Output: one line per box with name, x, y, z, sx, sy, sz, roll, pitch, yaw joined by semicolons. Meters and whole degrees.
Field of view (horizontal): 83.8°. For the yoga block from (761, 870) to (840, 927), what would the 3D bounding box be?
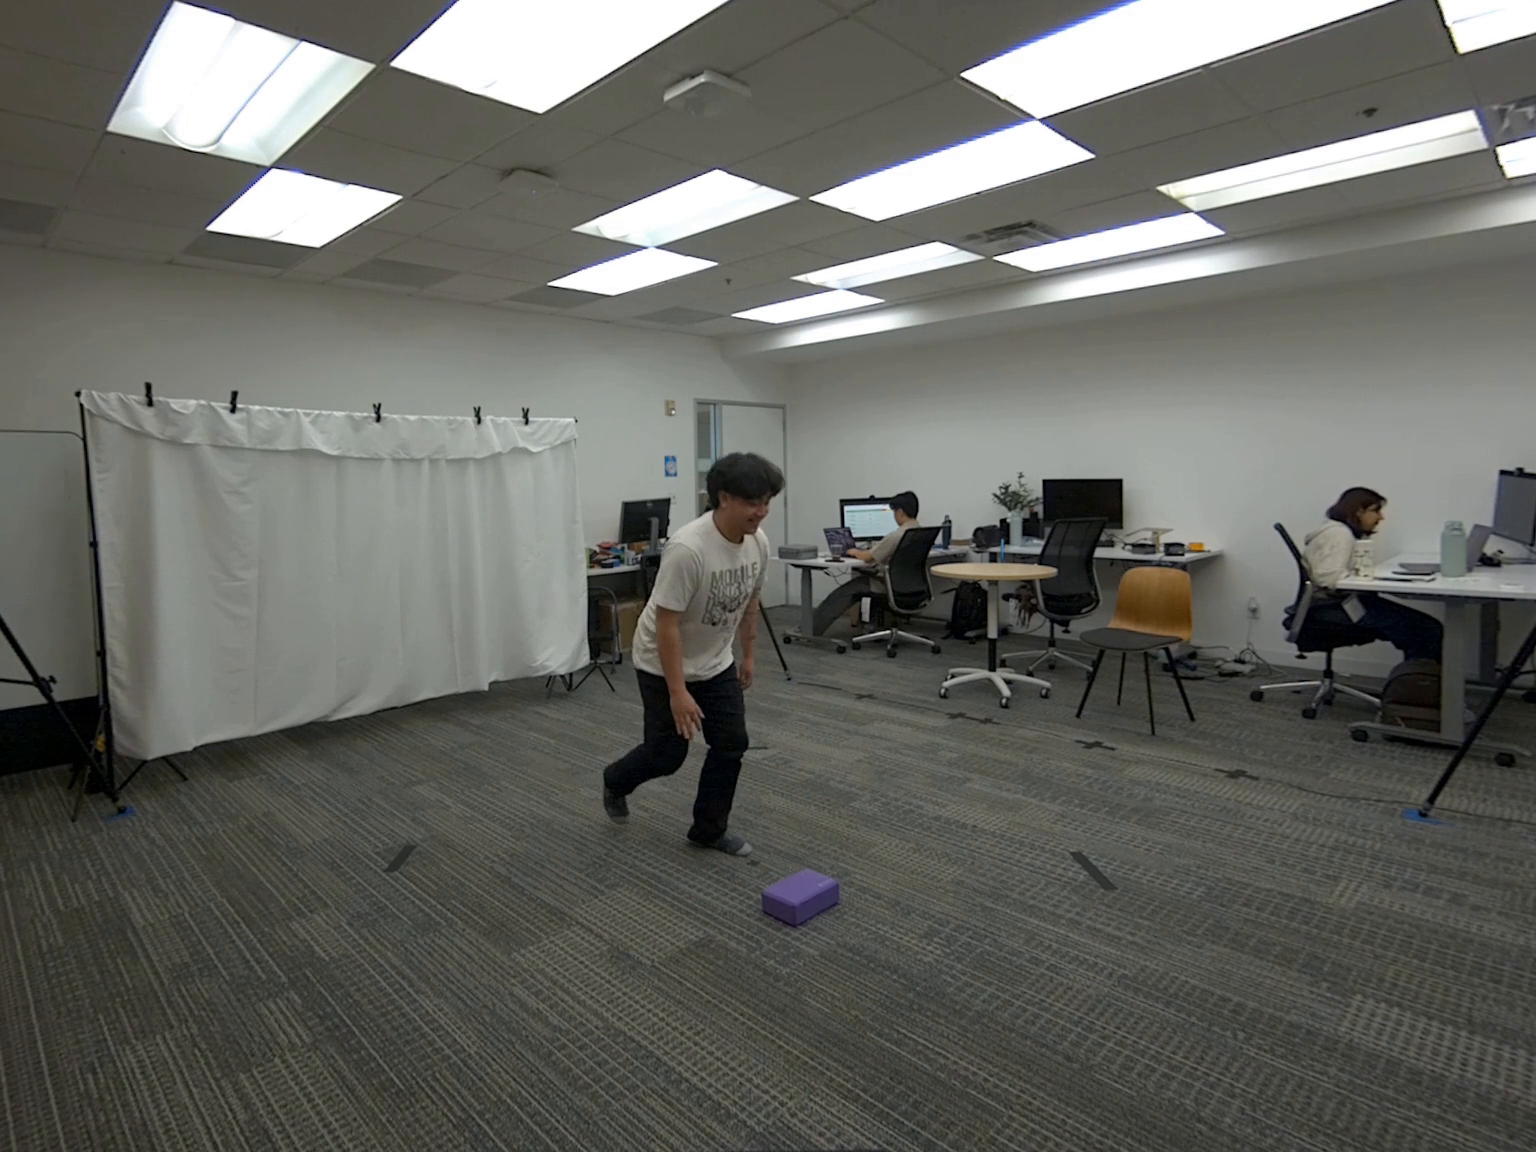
yoga block;0.110;1.041;2.774;0.153;0.076;0.223;3;7;44
